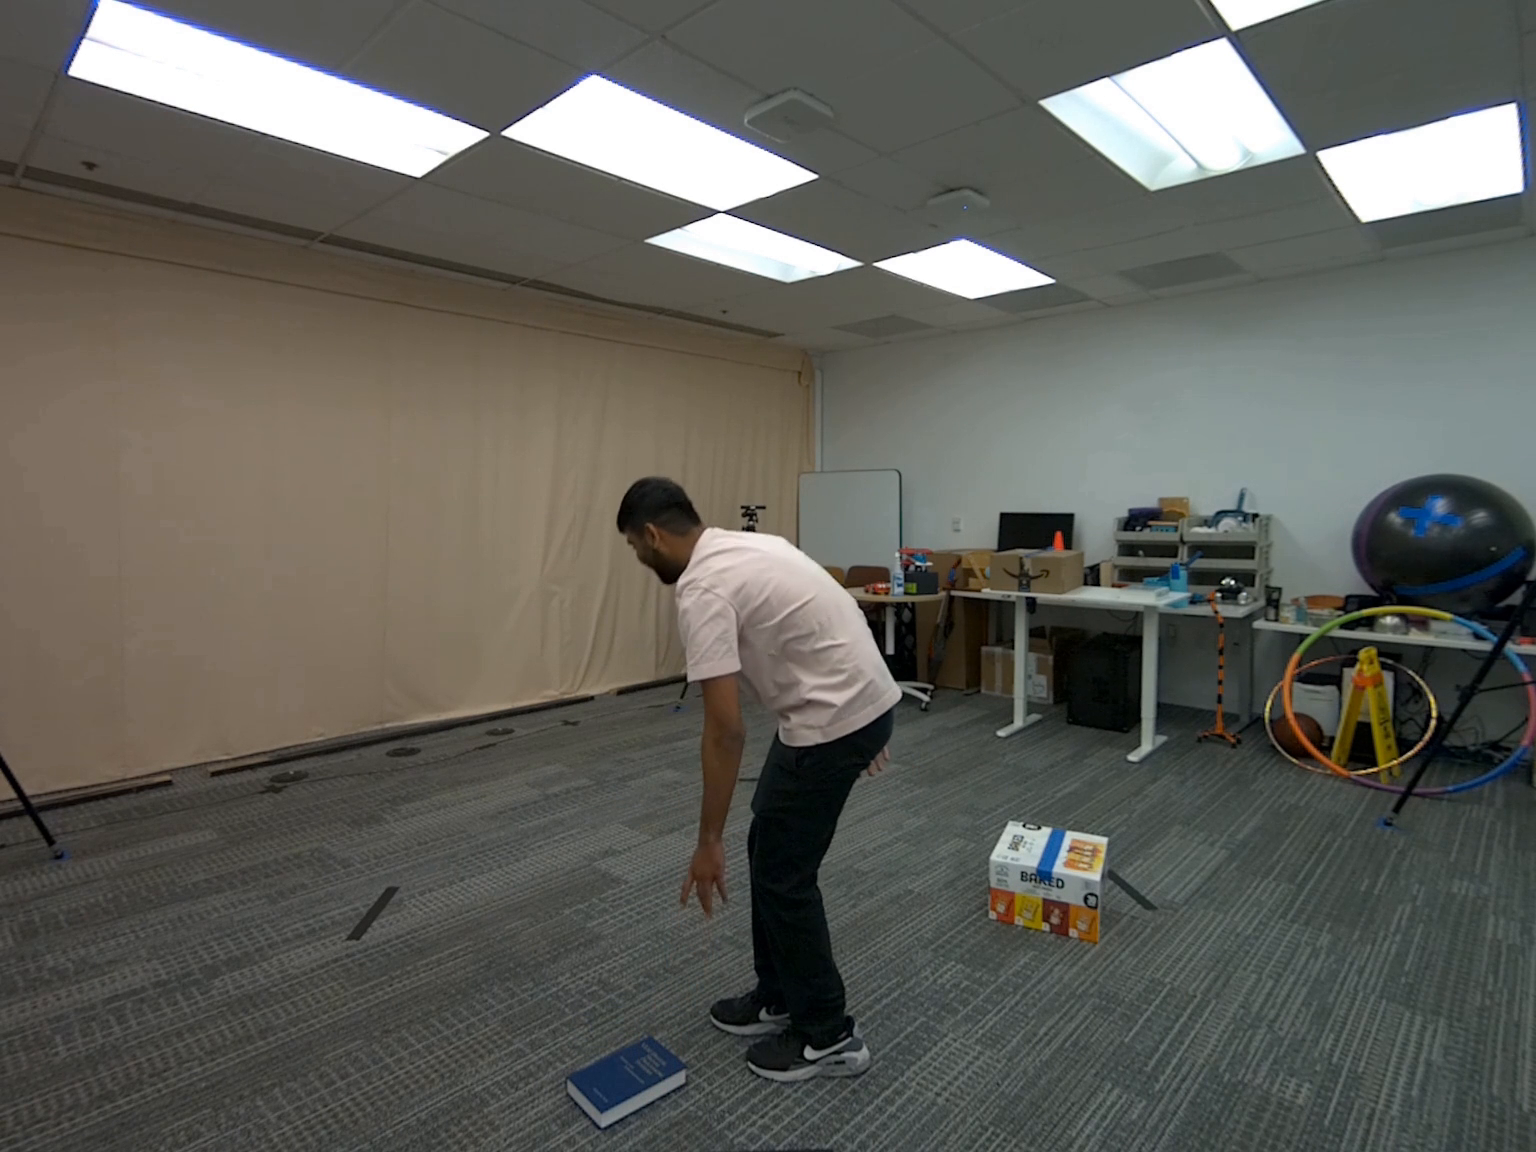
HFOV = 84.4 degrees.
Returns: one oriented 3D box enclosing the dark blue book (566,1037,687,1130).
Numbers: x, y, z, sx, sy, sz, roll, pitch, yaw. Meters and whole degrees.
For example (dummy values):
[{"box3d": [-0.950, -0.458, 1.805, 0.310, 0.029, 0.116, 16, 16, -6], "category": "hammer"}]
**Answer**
[{"box3d": [-0.332, 1.209, 2.009, 0.237, 0.045, 0.169, -4, 6, -41], "category": "dark blue book"}]
